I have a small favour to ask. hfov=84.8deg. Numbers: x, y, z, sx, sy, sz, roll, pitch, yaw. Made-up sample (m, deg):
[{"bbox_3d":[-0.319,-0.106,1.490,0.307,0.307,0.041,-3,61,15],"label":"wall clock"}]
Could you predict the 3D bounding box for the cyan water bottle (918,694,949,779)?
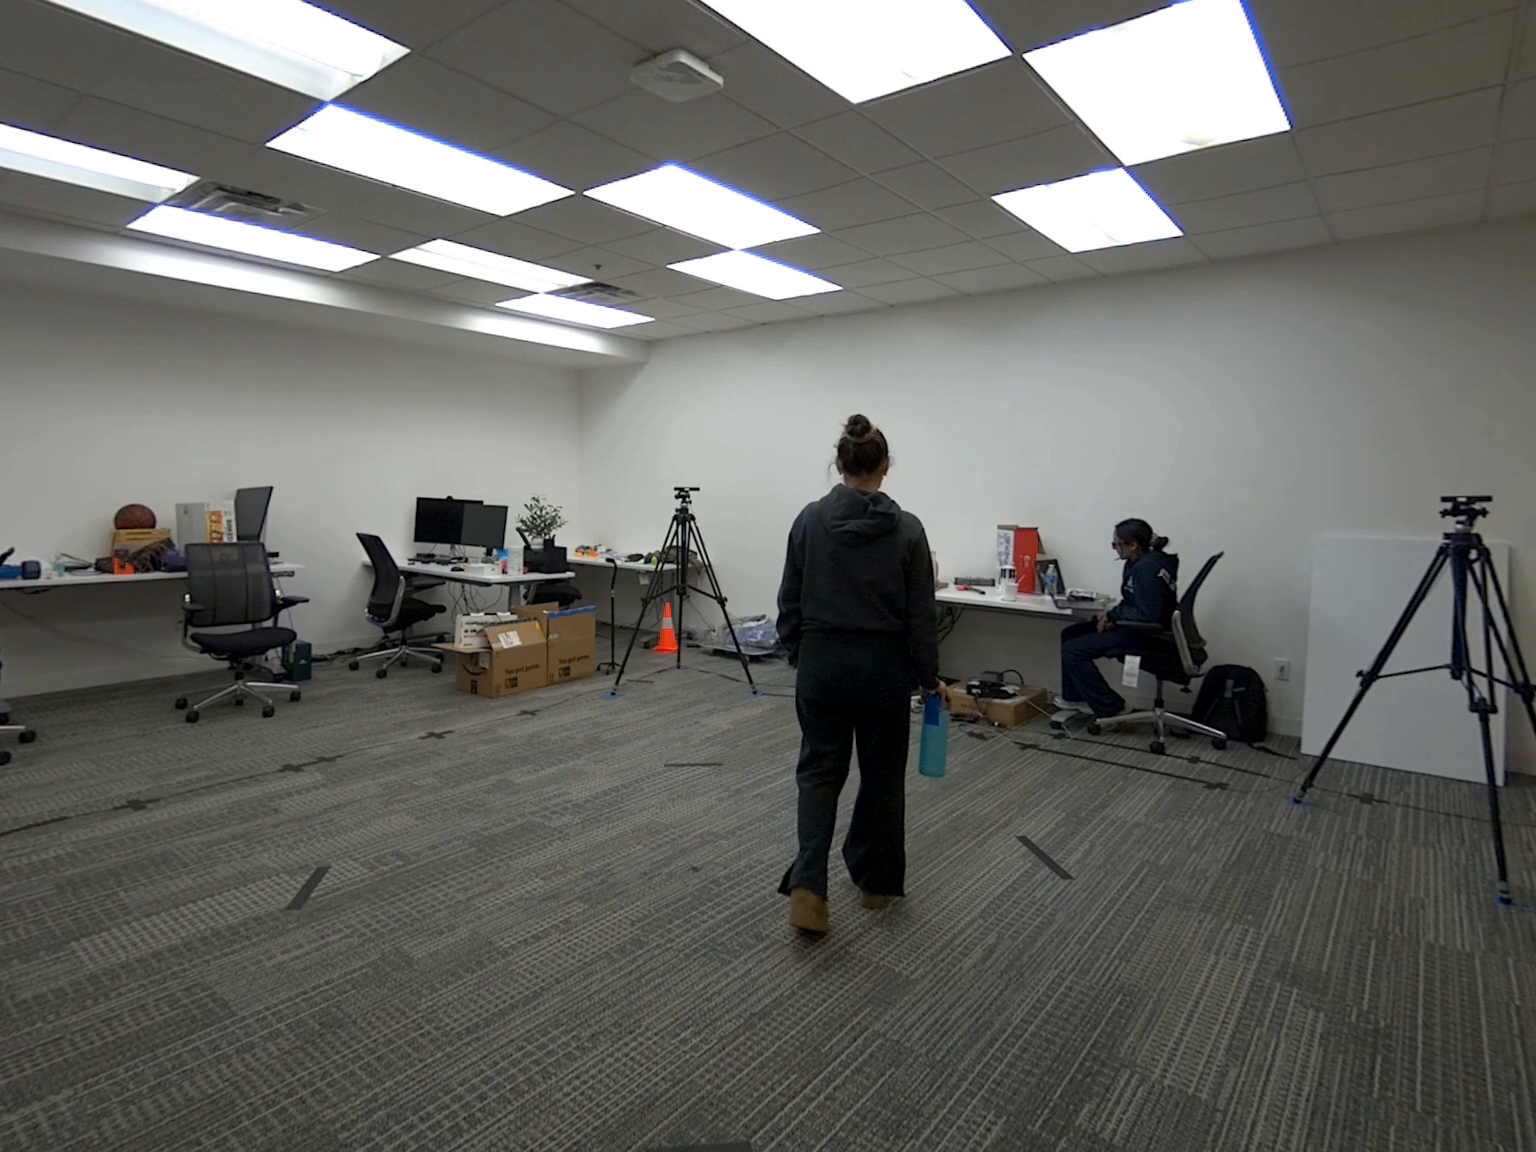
[{"bbox_3d":[0.560,0.525,2.842,0.092,0.283,0.093,2,3,-2],"label":"cyan water bottle"}]
